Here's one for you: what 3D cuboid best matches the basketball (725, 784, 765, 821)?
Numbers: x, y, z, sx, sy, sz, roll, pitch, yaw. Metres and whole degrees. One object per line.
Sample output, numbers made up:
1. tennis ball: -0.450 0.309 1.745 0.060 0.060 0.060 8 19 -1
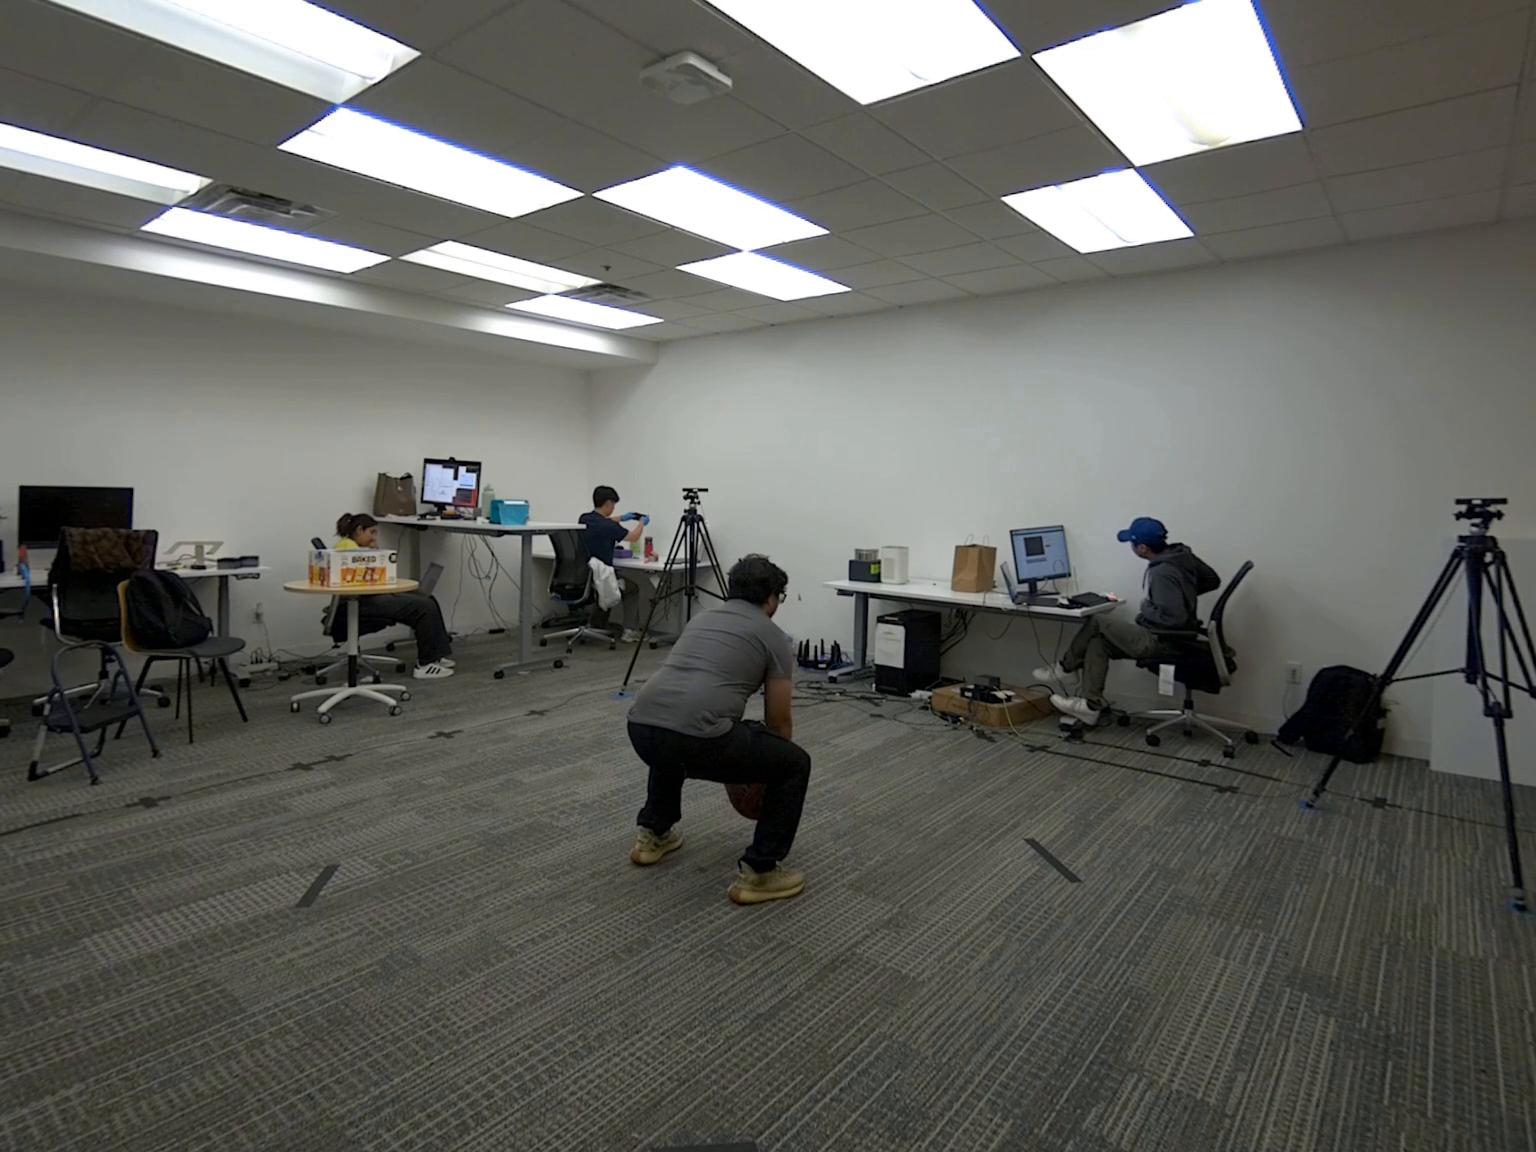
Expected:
1. basketball: -0.044 0.818 3.307 0.235 0.235 0.237 1 4 -2
